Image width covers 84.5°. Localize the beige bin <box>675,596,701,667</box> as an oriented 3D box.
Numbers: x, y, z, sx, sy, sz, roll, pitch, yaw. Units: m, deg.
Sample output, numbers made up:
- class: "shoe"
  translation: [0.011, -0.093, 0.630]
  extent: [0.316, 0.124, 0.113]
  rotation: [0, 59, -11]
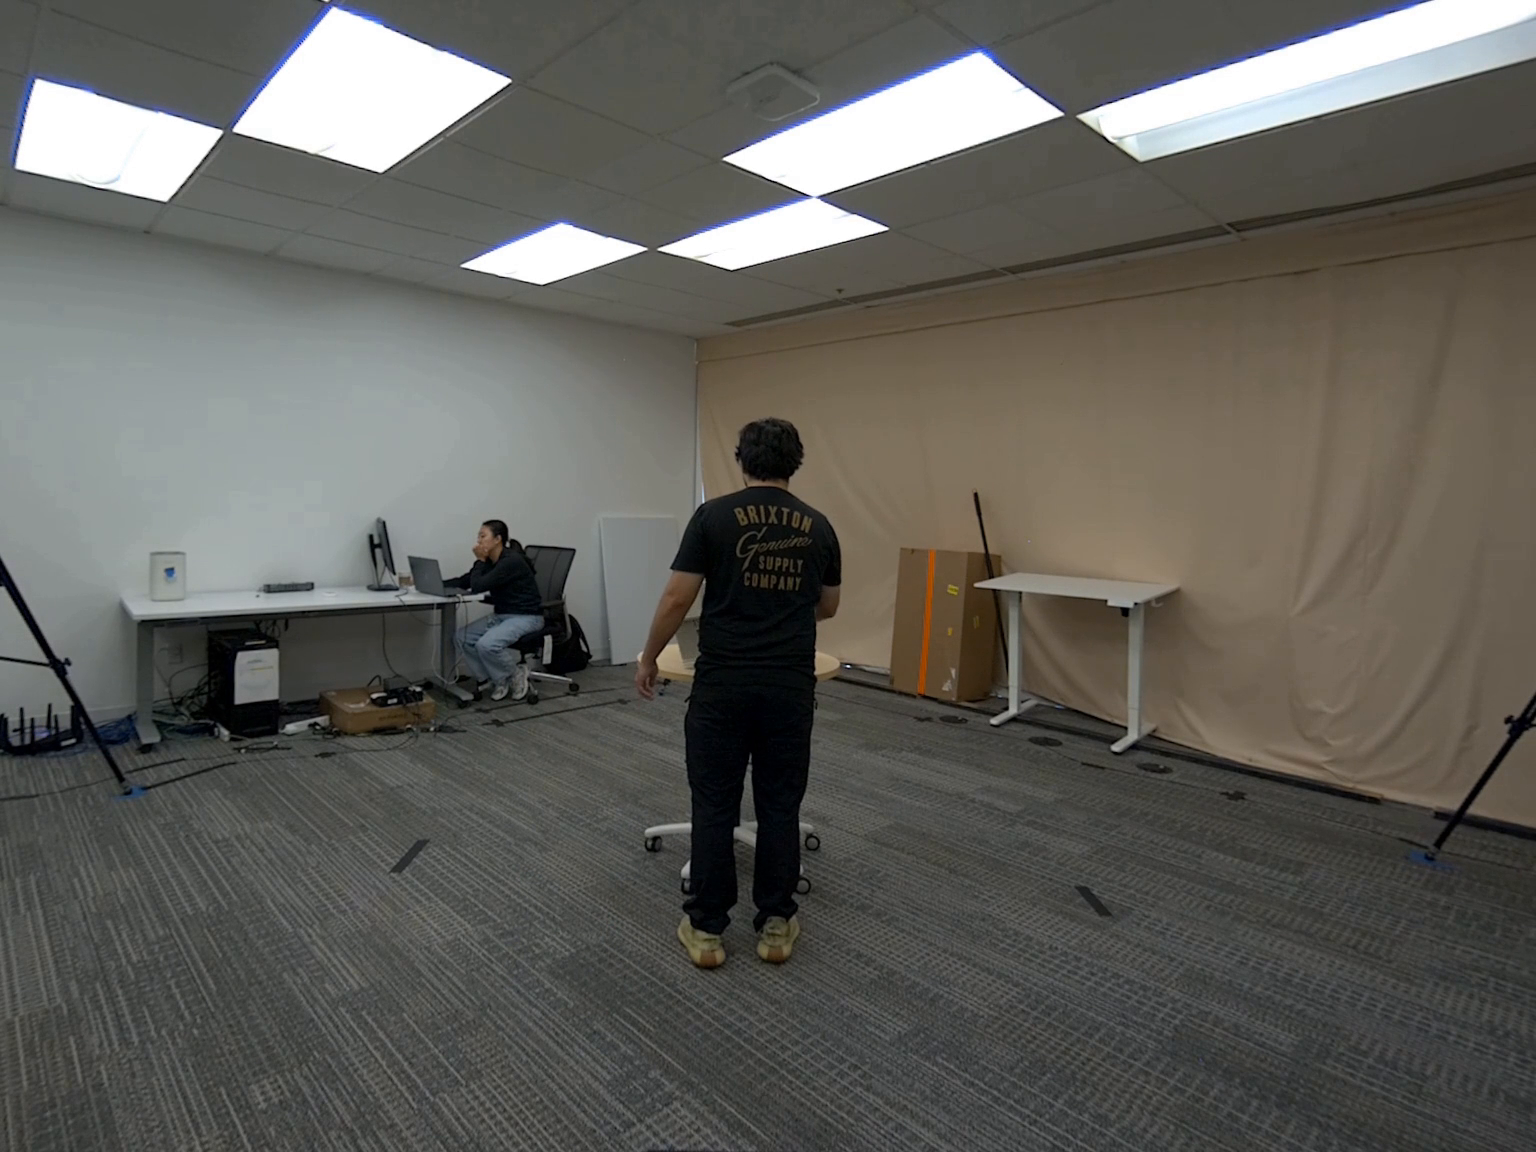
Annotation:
- class: "beige bin"
  translation: [-0.116, 0.148, 3.068]
  extent: [0.380, 0.186, 0.425]
  rotation: [-10, 17, 10]
